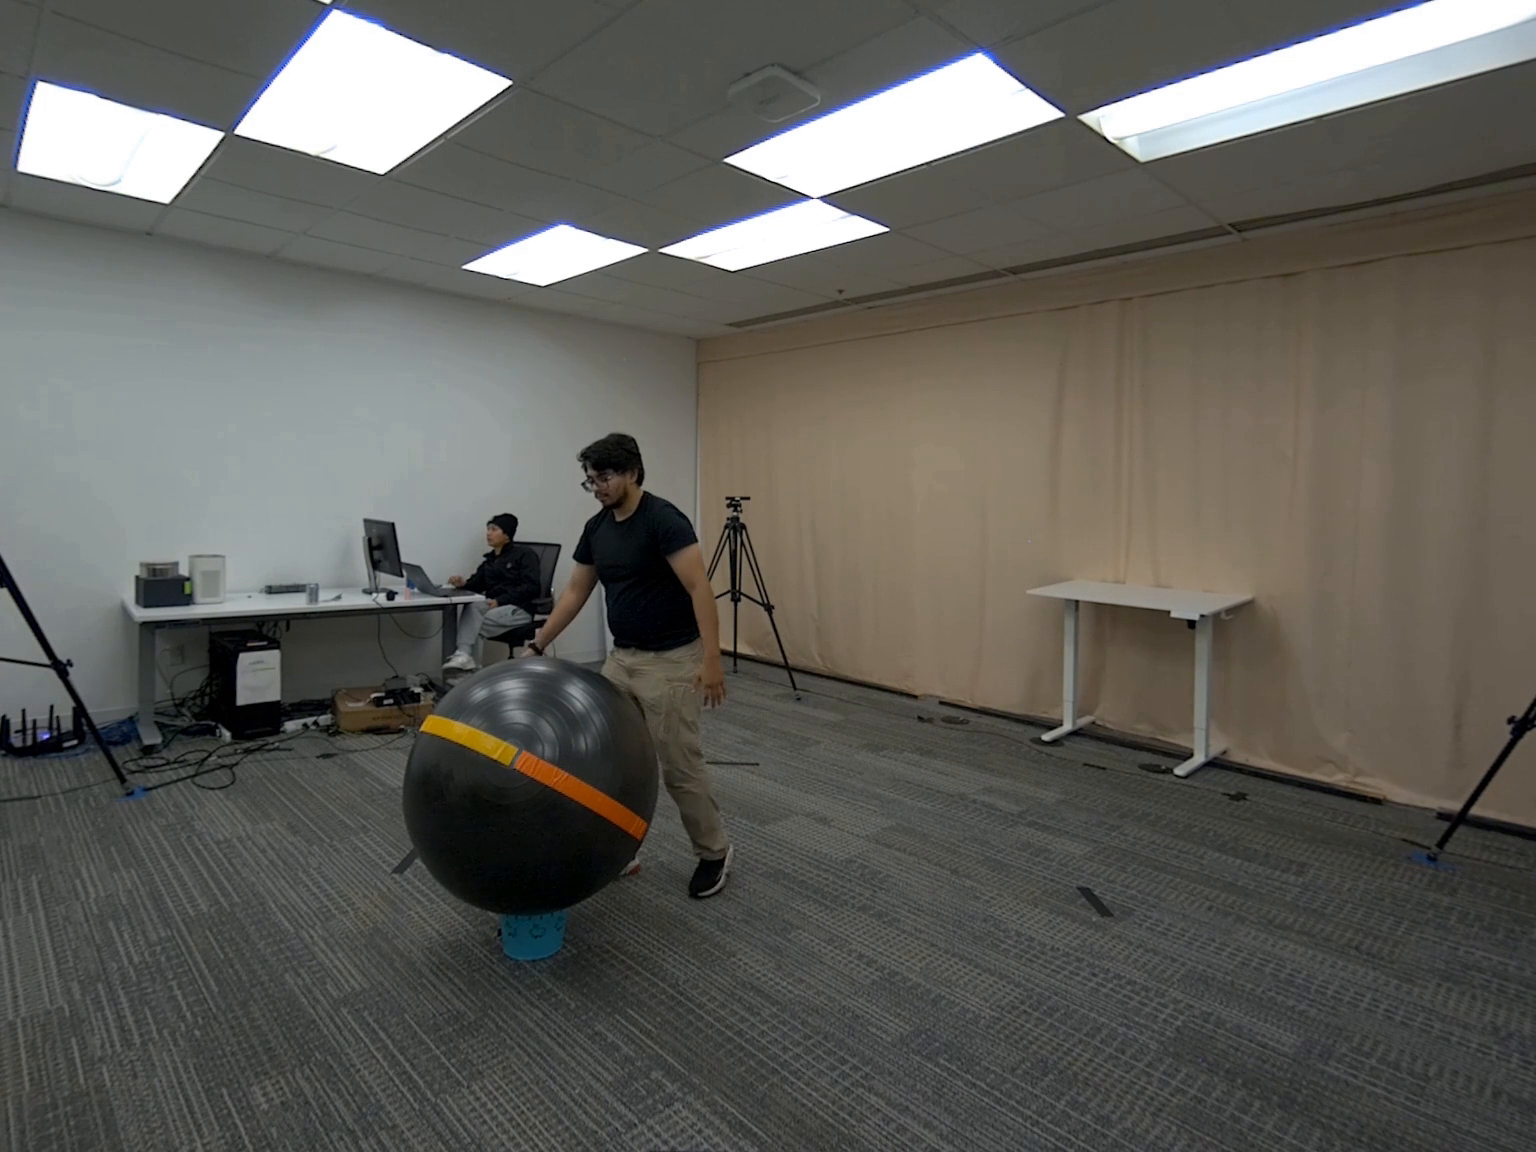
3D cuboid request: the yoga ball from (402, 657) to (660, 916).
[{"bbox_3d":[-0.724,0.641,2.579,0.757,0.756,0.761,1,4,-1],"label":"yoga ball"}]
